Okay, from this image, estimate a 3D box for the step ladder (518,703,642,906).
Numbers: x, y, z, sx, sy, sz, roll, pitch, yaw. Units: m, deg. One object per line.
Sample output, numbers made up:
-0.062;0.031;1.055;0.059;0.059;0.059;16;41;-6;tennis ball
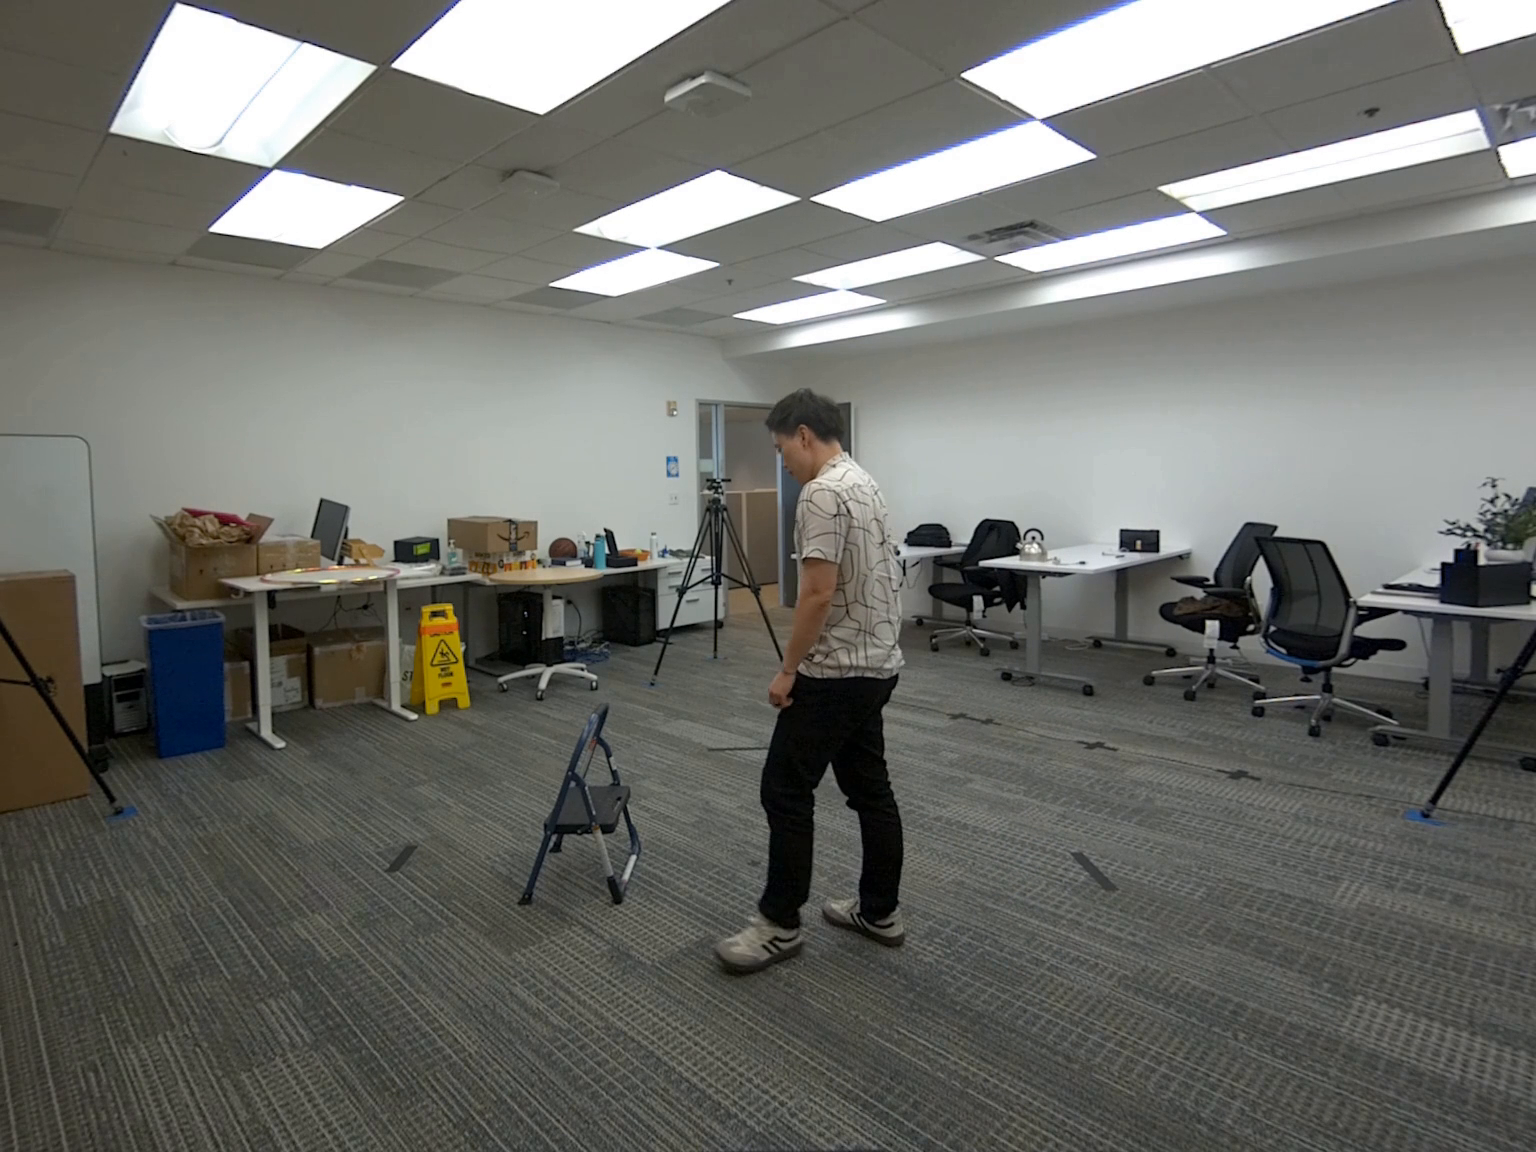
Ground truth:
-0.657;0.768;3.015;0.350;0.604;0.431;-2;4;1;step ladder
